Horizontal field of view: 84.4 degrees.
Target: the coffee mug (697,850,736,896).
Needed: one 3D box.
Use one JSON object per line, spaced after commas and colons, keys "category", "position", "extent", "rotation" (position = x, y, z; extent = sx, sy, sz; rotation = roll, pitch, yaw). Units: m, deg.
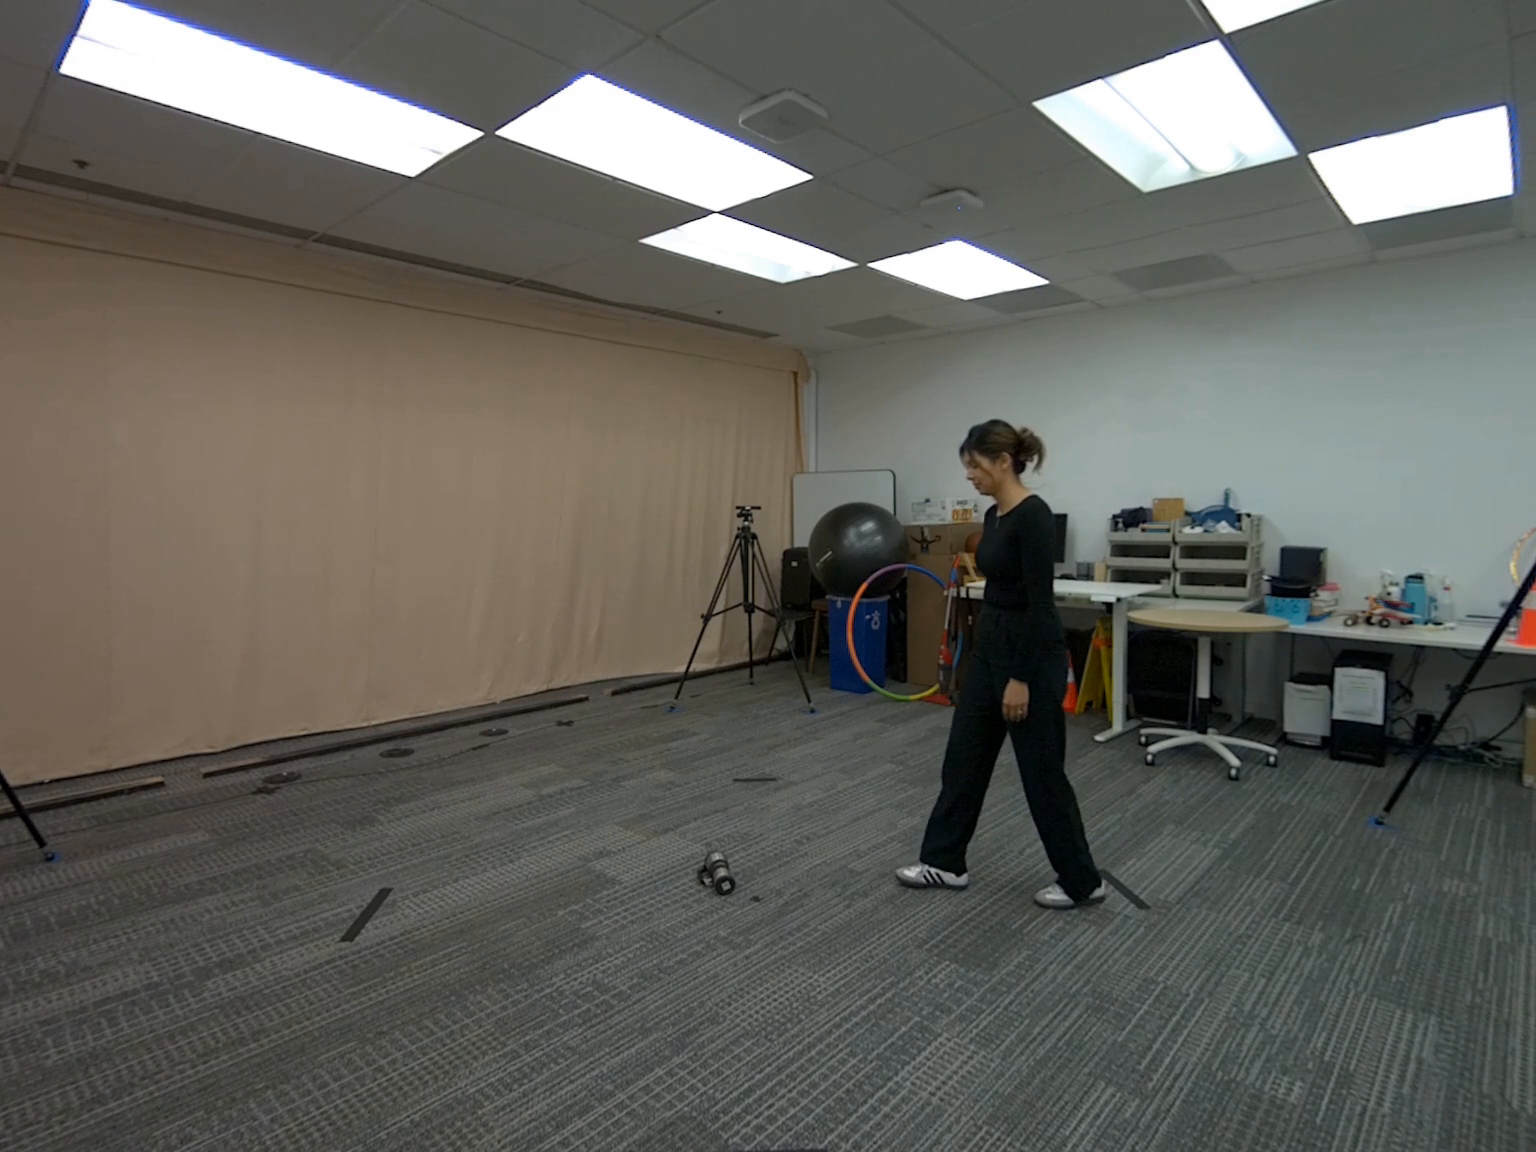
{"category": "coffee mug", "position": [-0.186, 1.109, 3.106], "extent": [0.086, 0.122, 0.207], "rotation": [39, -2, -17]}
